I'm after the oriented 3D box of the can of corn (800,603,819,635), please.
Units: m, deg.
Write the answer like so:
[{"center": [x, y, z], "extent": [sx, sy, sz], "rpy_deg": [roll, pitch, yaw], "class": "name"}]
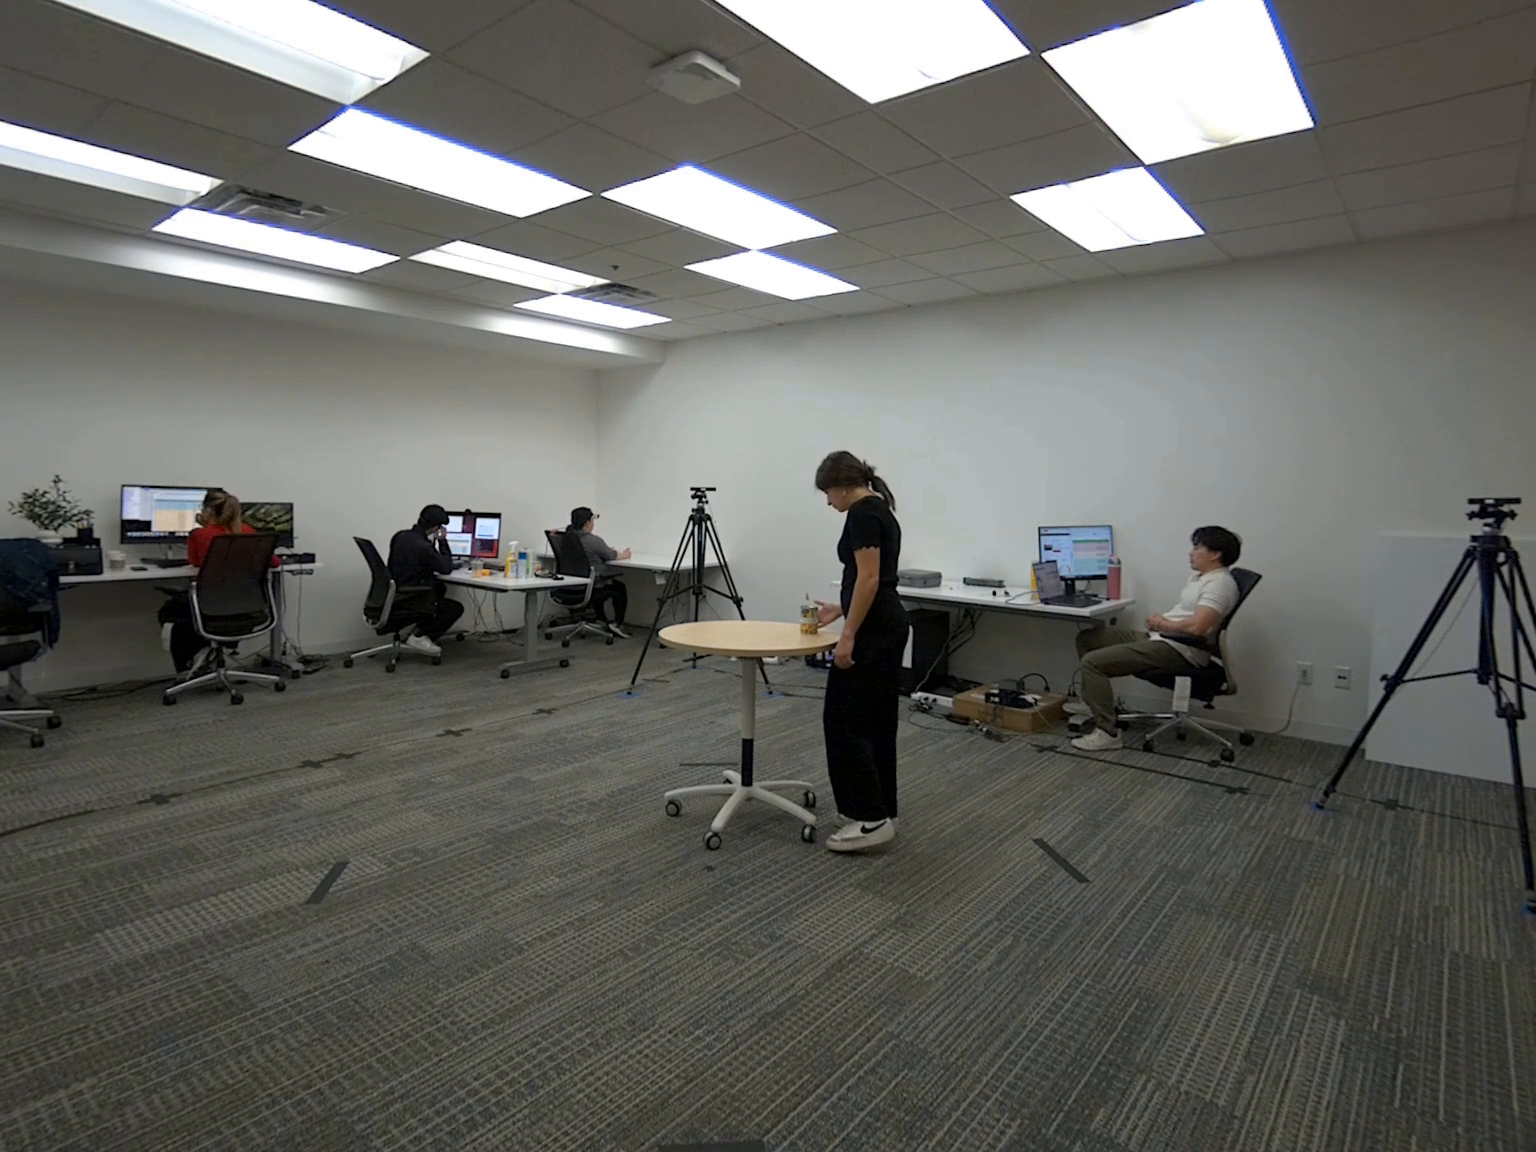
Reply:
[{"center": [0.173, 0.181, 3.633], "extent": [0.074, 0.110, 0.074], "rpy_deg": [2, 4, -2], "class": "can of corn"}]
